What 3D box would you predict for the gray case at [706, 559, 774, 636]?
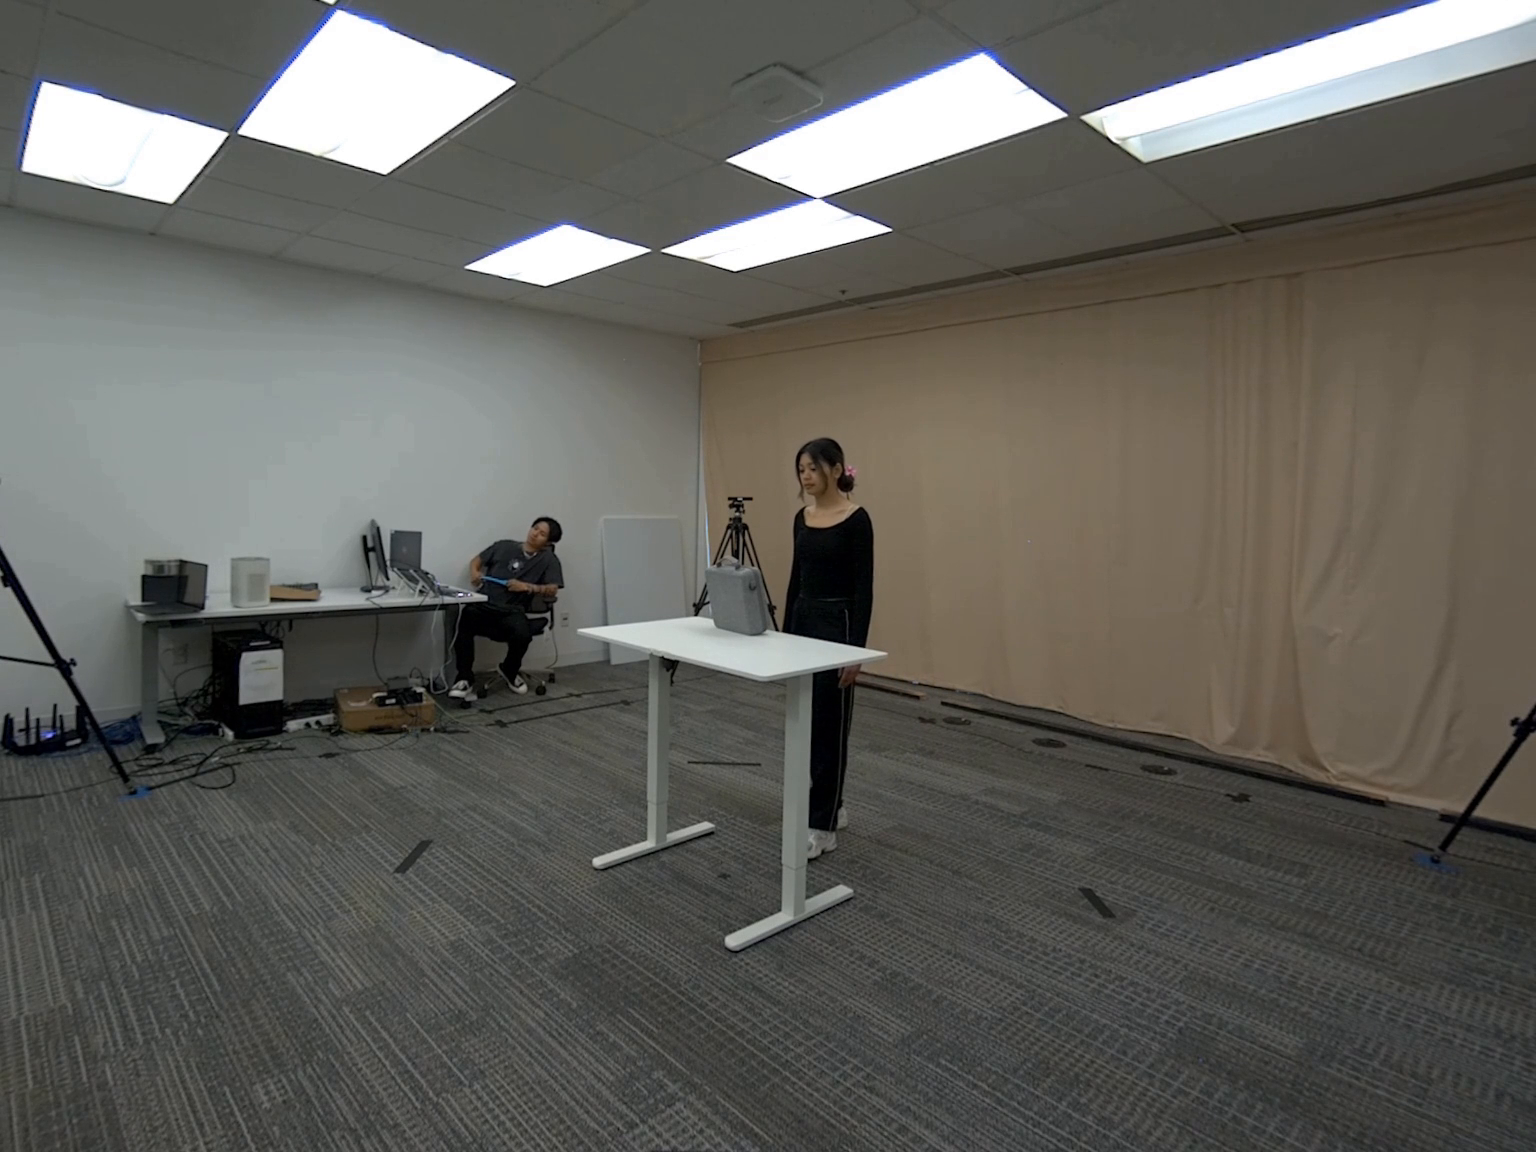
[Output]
[{"bbox_3d":[-0.124,0.084,3.206,0.103,0.258,0.263,-17,14,-35],"label":"gray case"}]
